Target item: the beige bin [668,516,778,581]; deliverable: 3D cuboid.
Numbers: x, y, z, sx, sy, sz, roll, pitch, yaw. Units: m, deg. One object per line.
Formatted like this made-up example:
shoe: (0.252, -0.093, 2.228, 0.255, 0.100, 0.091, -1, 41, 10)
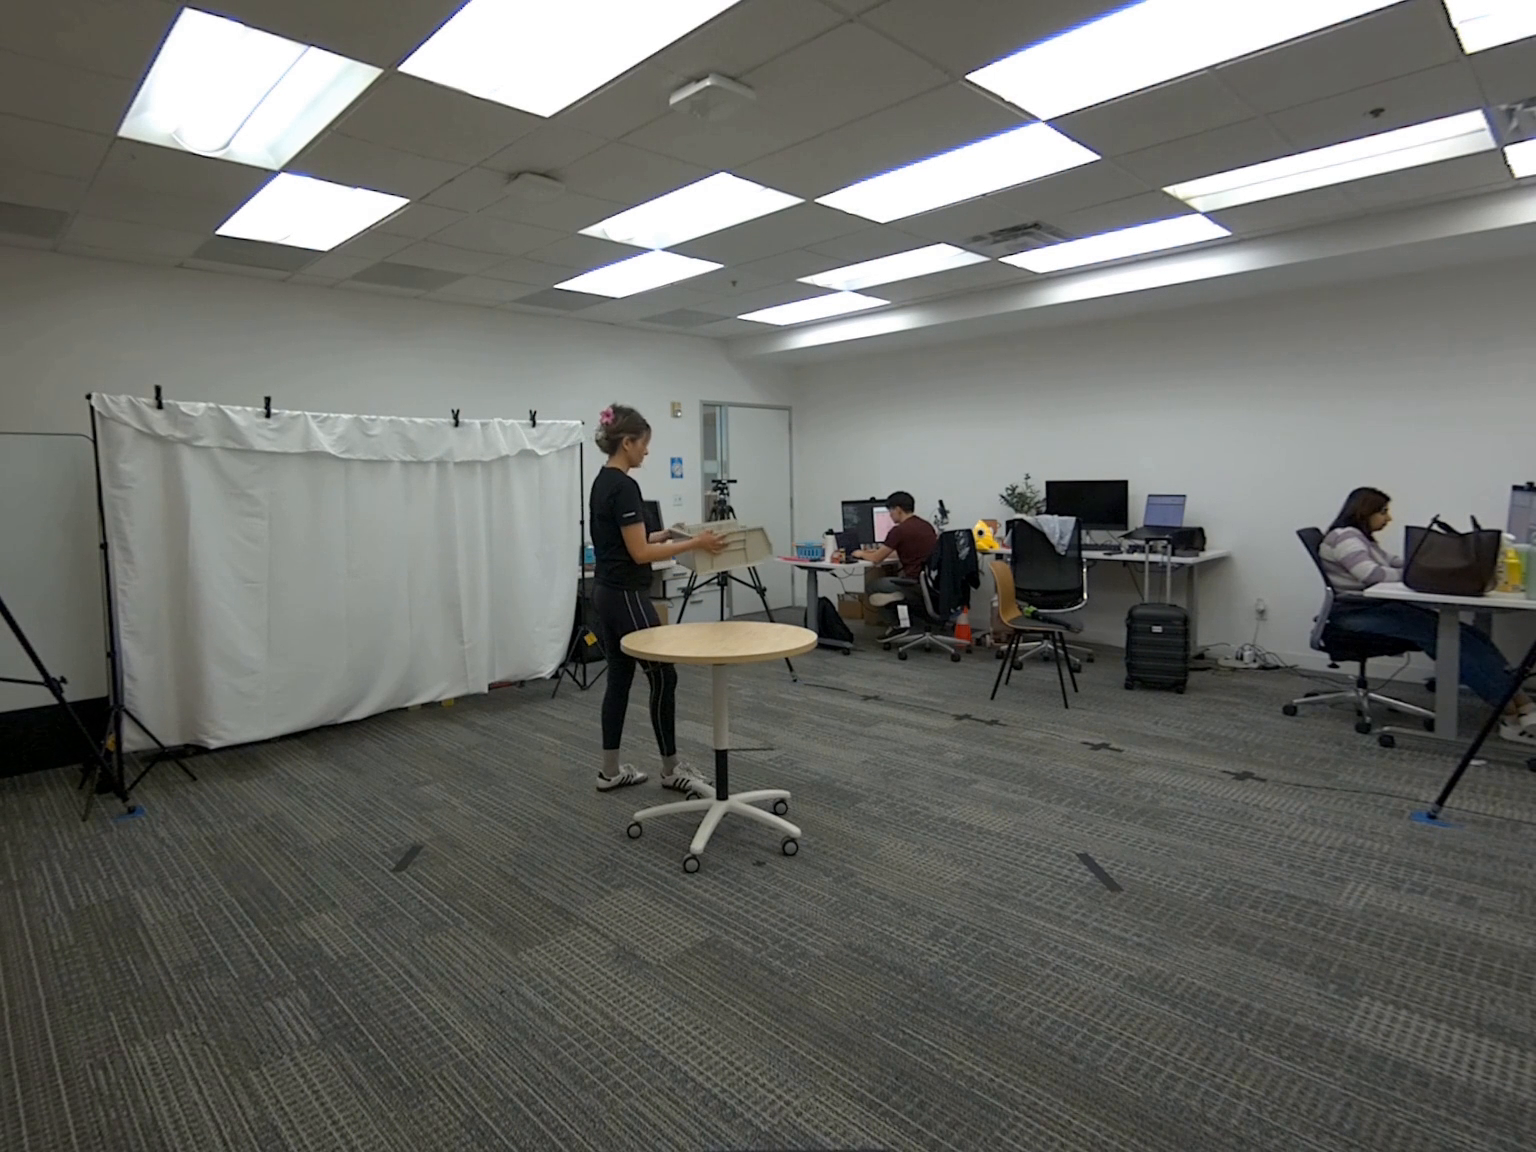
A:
beige bin: (-0.219, -0.139, 3.984, 0.372, 0.187, 0.432, -11, 11, -17)
